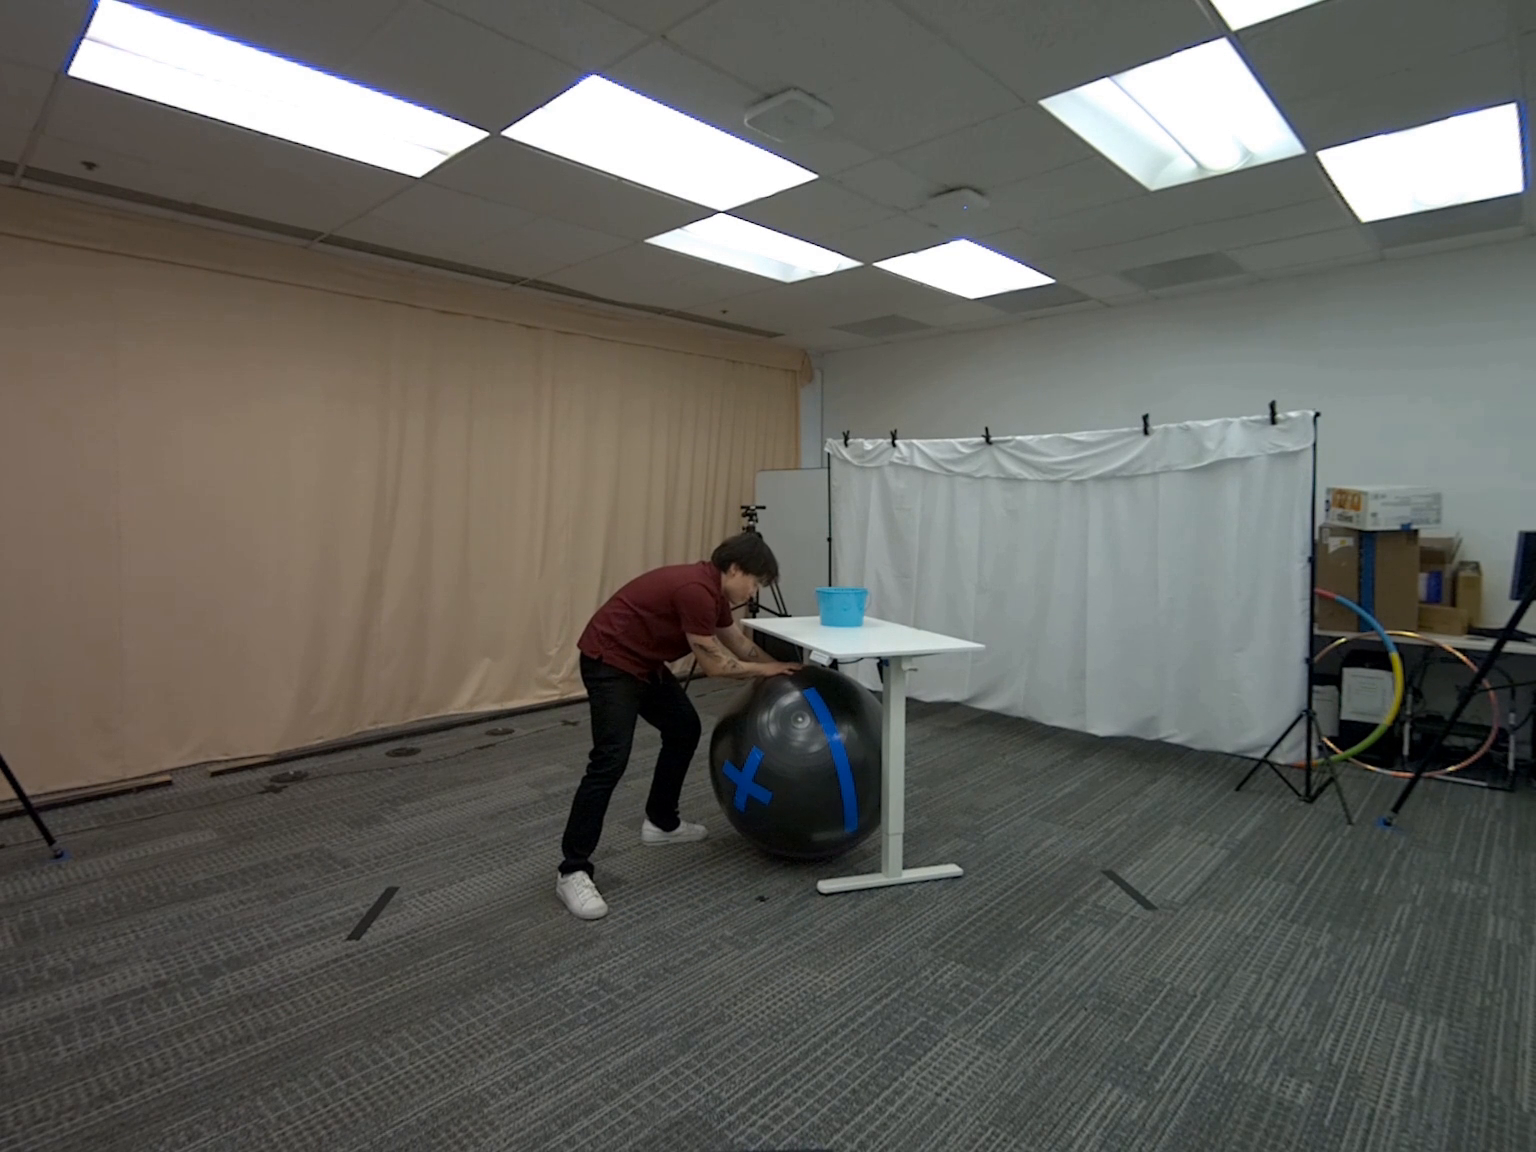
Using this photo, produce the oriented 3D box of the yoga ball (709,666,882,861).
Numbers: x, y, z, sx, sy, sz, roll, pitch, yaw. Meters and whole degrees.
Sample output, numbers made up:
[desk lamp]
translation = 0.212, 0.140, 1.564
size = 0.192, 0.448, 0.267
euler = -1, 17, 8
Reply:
[yoga ball]
translation = 0.156, 0.748, 3.376
size = 0.757, 0.756, 0.760
euler = 0, 4, -2
